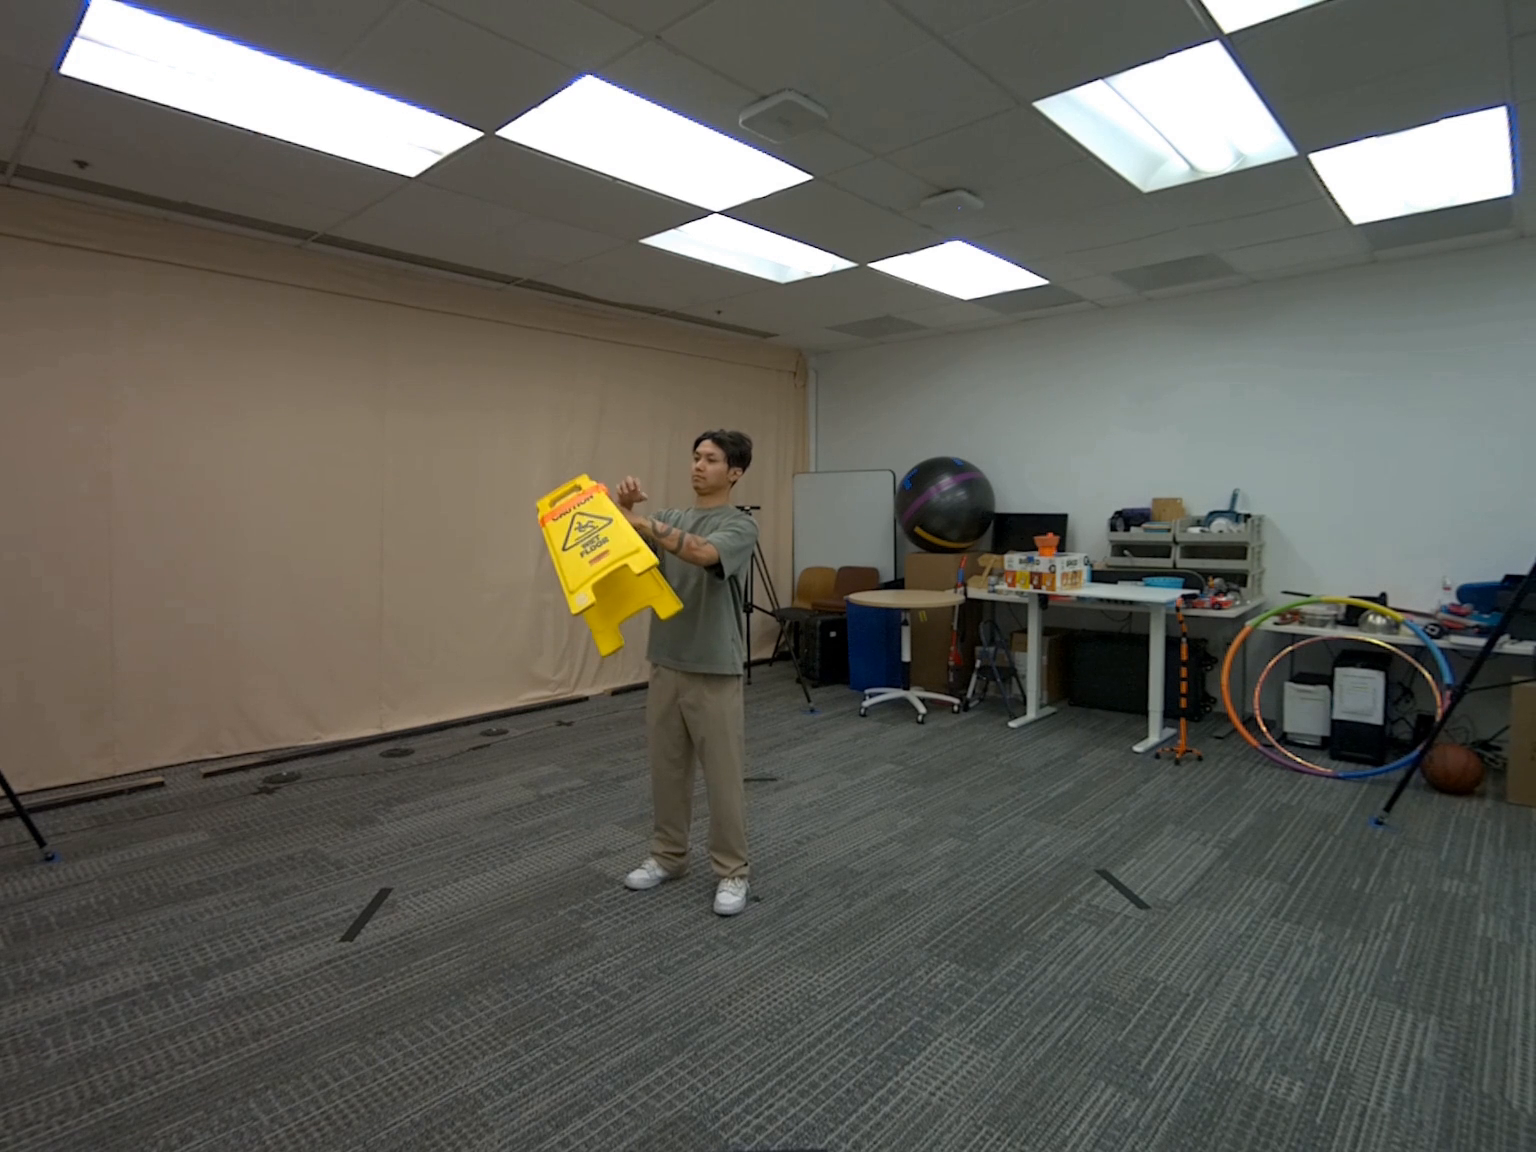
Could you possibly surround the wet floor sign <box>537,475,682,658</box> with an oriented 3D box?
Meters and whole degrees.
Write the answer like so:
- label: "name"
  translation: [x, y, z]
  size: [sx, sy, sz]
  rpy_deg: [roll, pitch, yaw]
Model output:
- label: "wet floor sign"
  translation: [-0.539, -0.091, 2.615]
  size: [0.281, 0.281, 0.668]
  rpy_deg: [-31, 47, -5]
